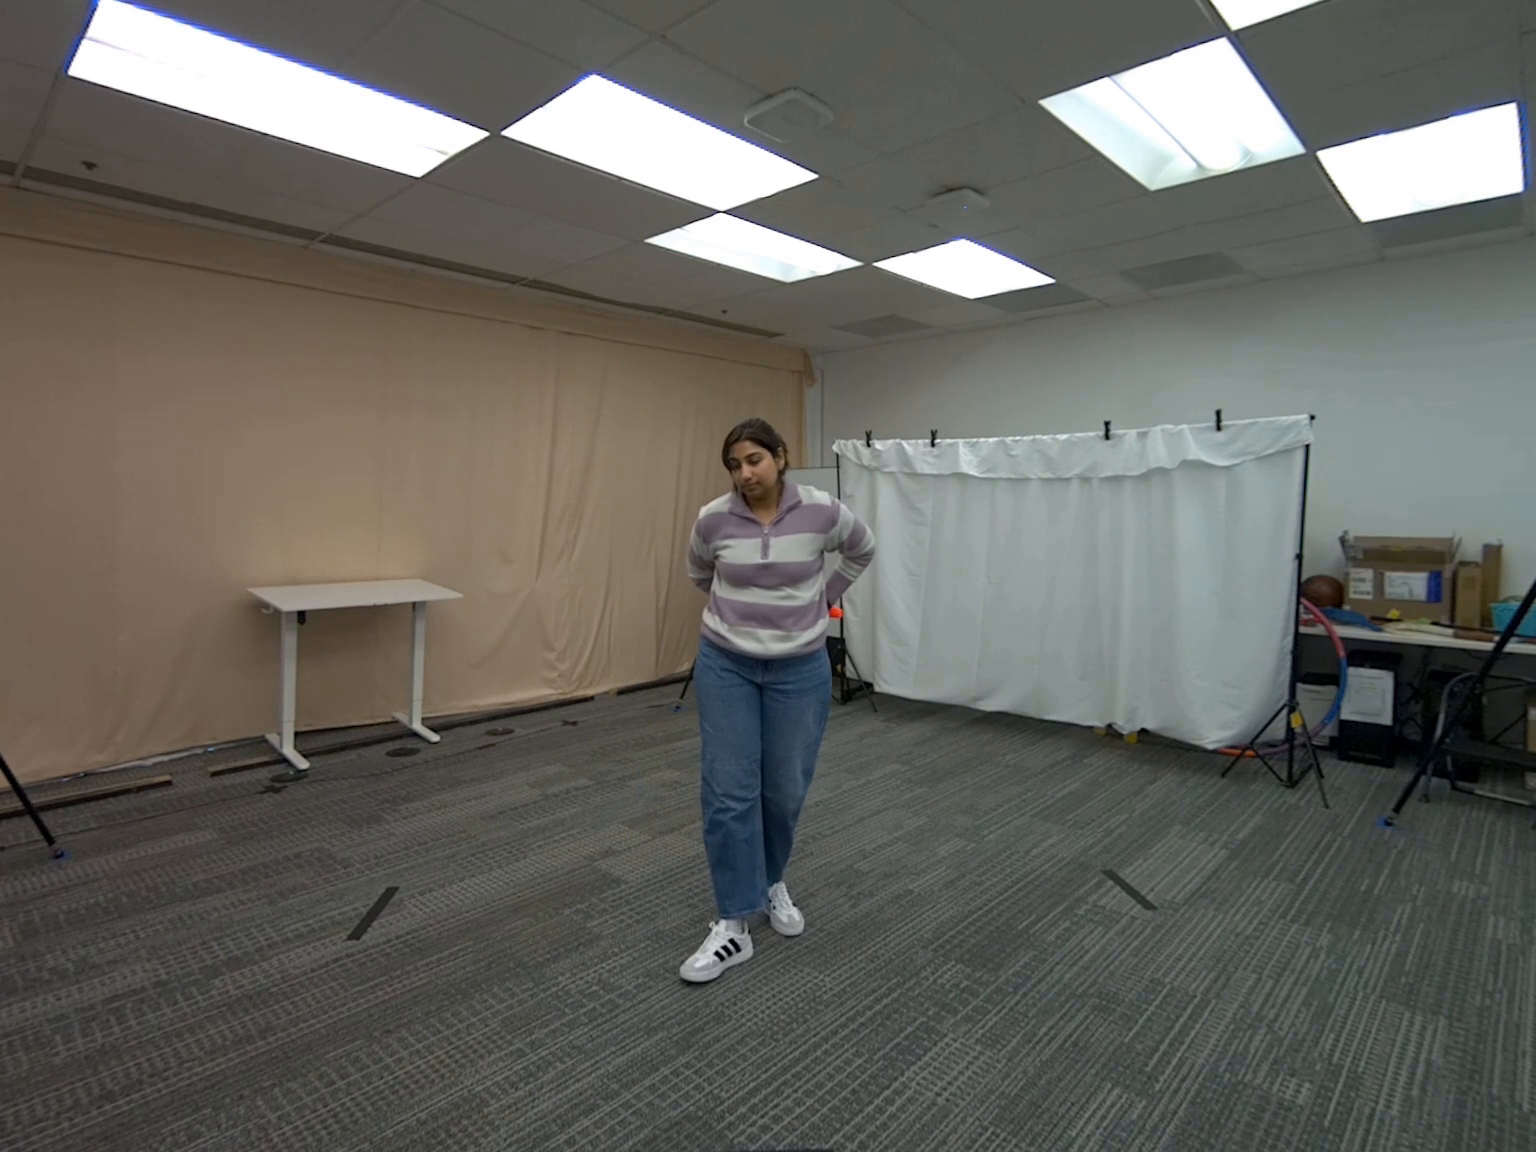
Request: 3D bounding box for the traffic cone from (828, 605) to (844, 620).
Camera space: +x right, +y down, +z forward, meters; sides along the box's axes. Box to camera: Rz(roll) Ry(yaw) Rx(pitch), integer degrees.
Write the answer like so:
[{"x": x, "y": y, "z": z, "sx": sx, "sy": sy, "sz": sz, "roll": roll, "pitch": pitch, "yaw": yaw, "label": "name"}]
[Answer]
[{"x": 0.092, "y": 0.095, "z": 2.933, "sx": 0.396, "sy": 0.206, "sz": 0.196, "roll": 9, "pitch": -16, "yaw": 34, "label": "traffic cone"}]
